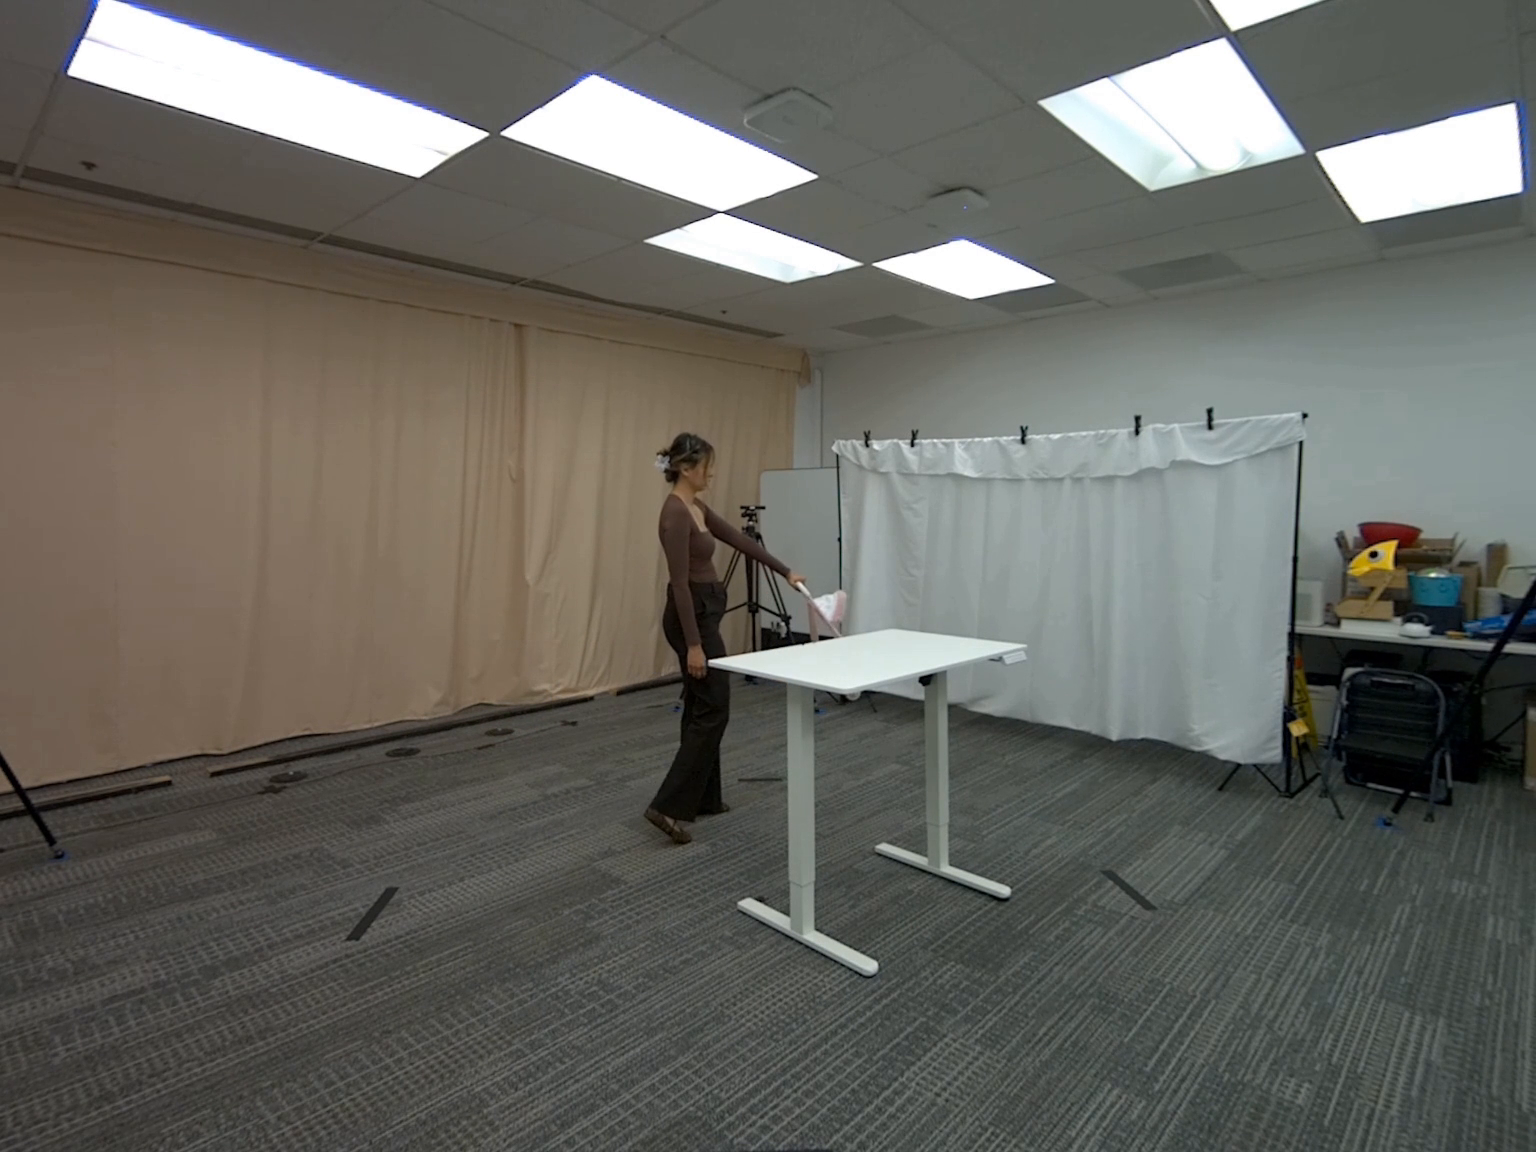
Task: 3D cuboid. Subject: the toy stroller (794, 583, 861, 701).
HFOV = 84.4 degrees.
[{"bbox_3d":[0.280,0.304,3.849,0.342,0.533,0.282,4,5,0],"label":"toy stroller"}]
